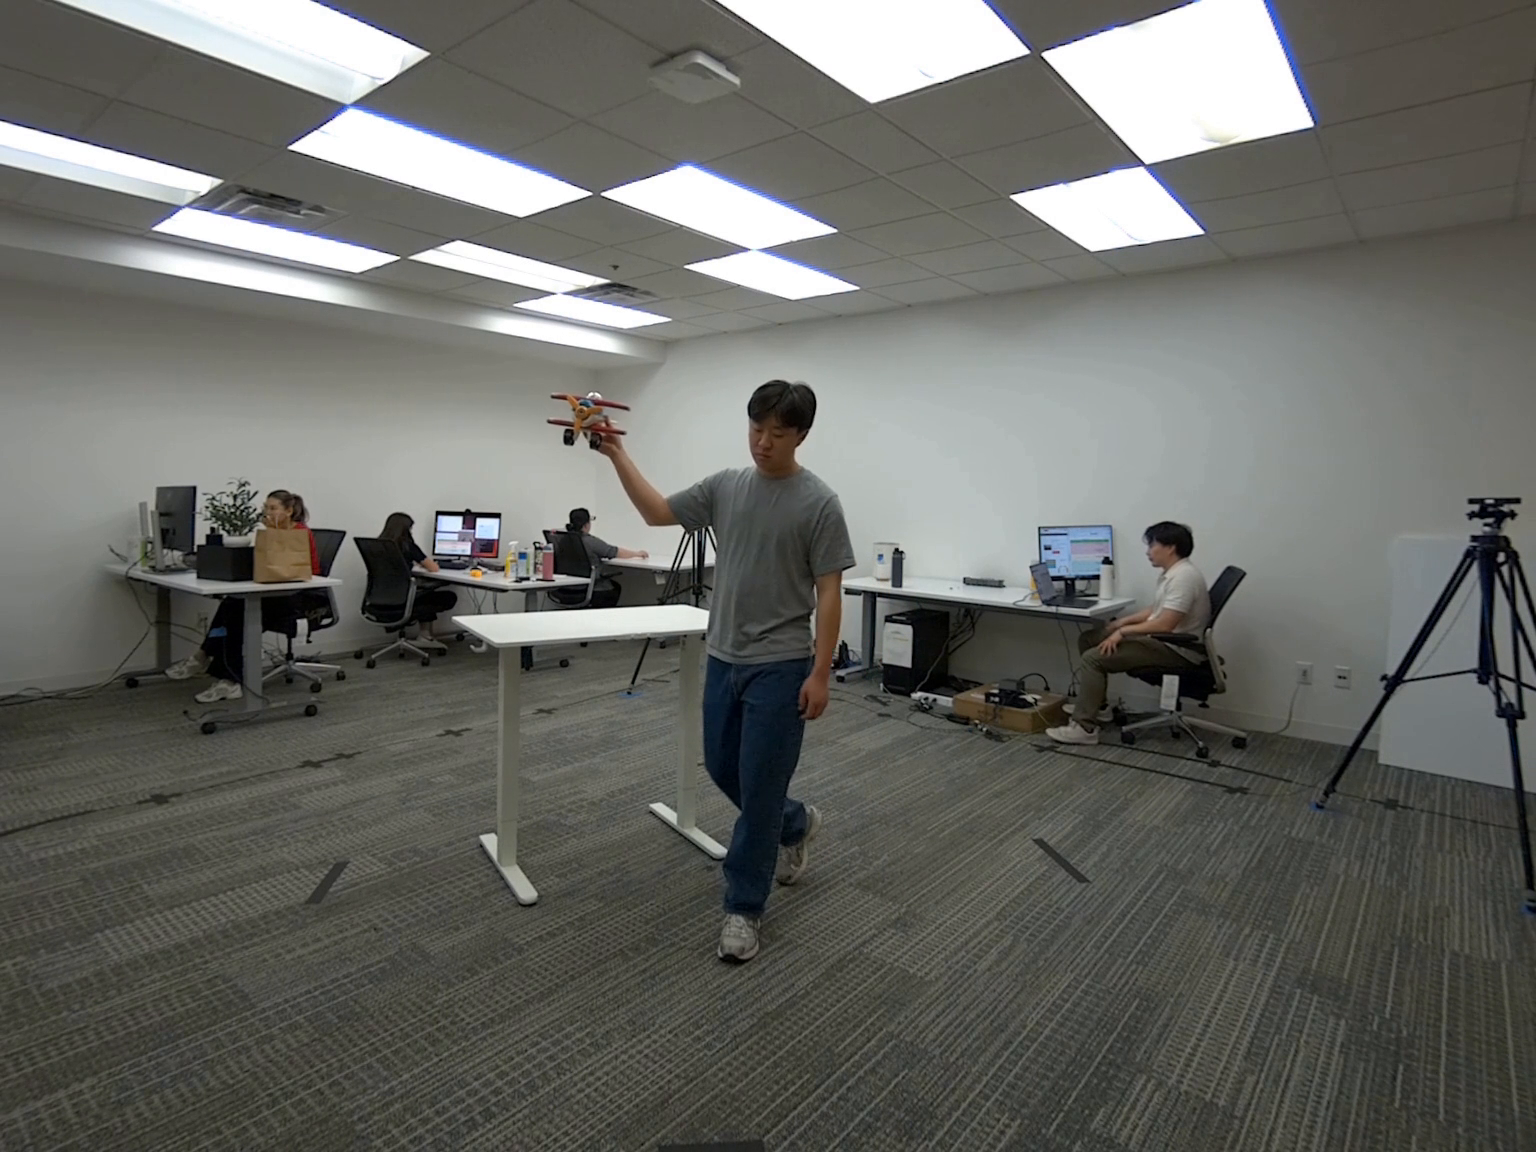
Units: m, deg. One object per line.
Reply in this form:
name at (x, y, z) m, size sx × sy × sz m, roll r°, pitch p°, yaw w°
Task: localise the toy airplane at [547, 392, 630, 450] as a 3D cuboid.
toy airplane at (-0.601, -0.508, 2.724) m, size 0.245 × 0.154 × 0.269 m, roll 1°, pitch 22°, yaw -25°
